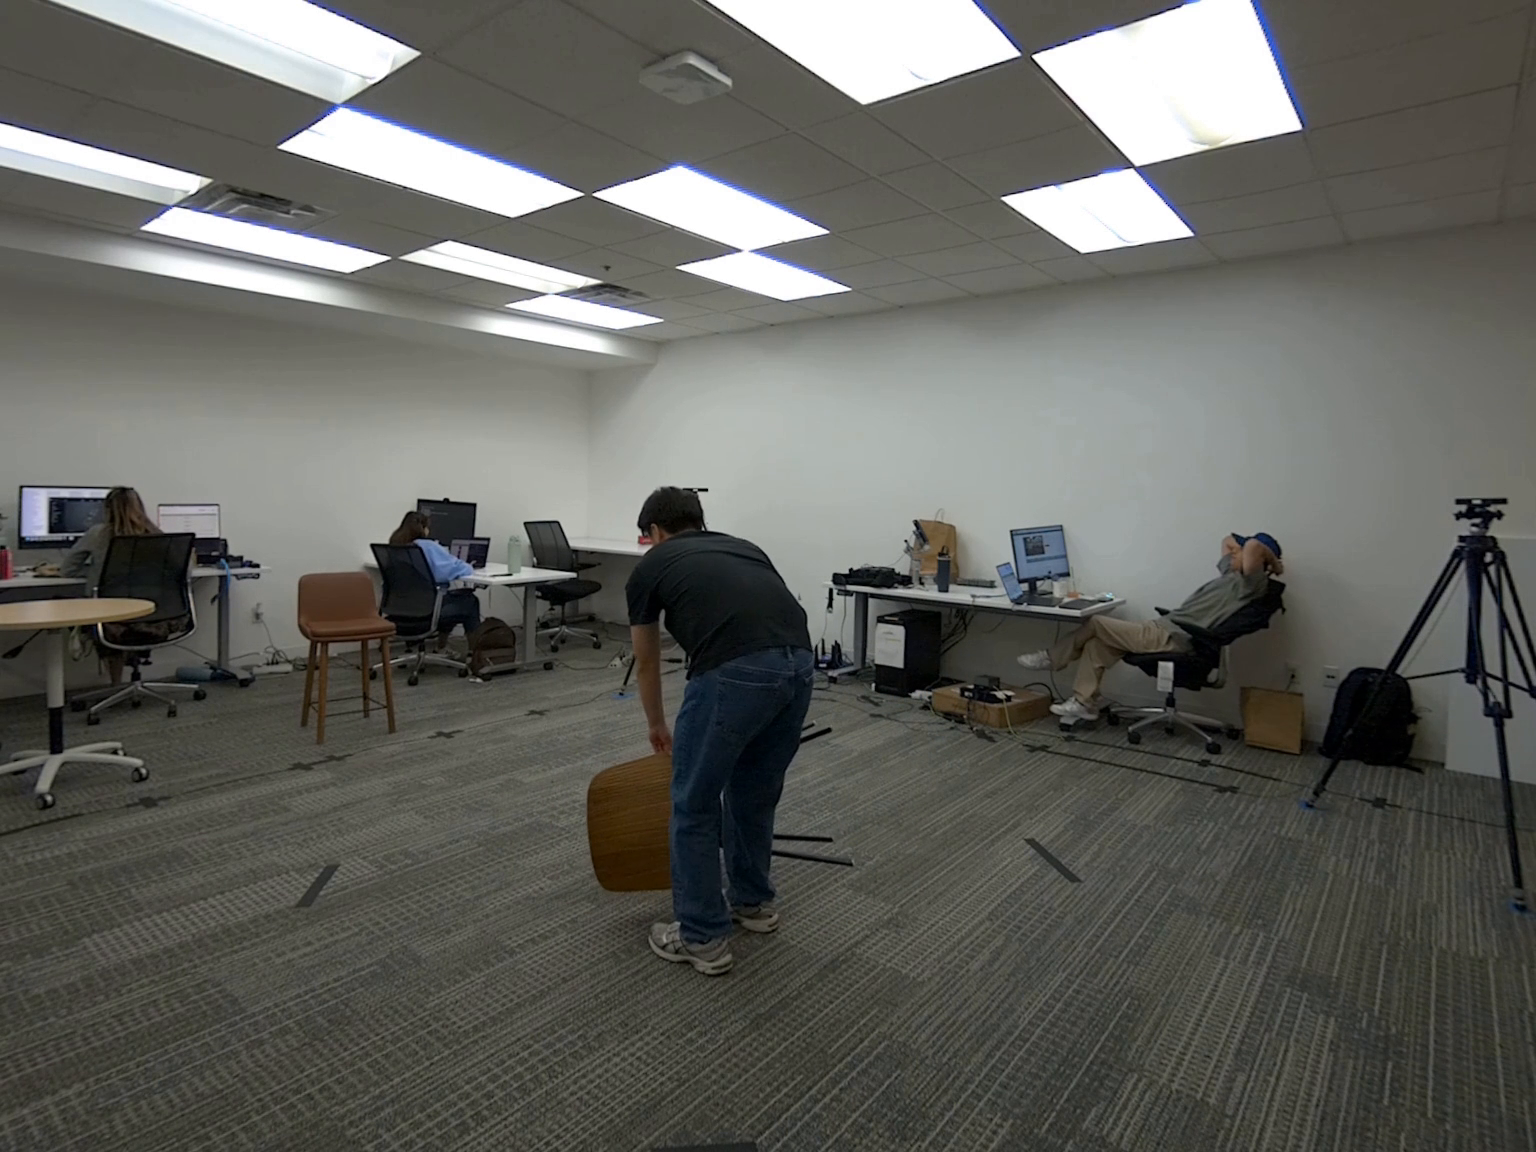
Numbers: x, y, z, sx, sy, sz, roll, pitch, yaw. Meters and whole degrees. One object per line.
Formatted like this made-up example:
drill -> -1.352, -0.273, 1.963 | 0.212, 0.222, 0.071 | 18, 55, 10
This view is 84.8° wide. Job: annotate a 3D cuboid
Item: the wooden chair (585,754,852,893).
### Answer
wooden chair -> -0.205, 0.813, 3.032 | 0.872, 0.483, 0.521 | -9, -8, -7
